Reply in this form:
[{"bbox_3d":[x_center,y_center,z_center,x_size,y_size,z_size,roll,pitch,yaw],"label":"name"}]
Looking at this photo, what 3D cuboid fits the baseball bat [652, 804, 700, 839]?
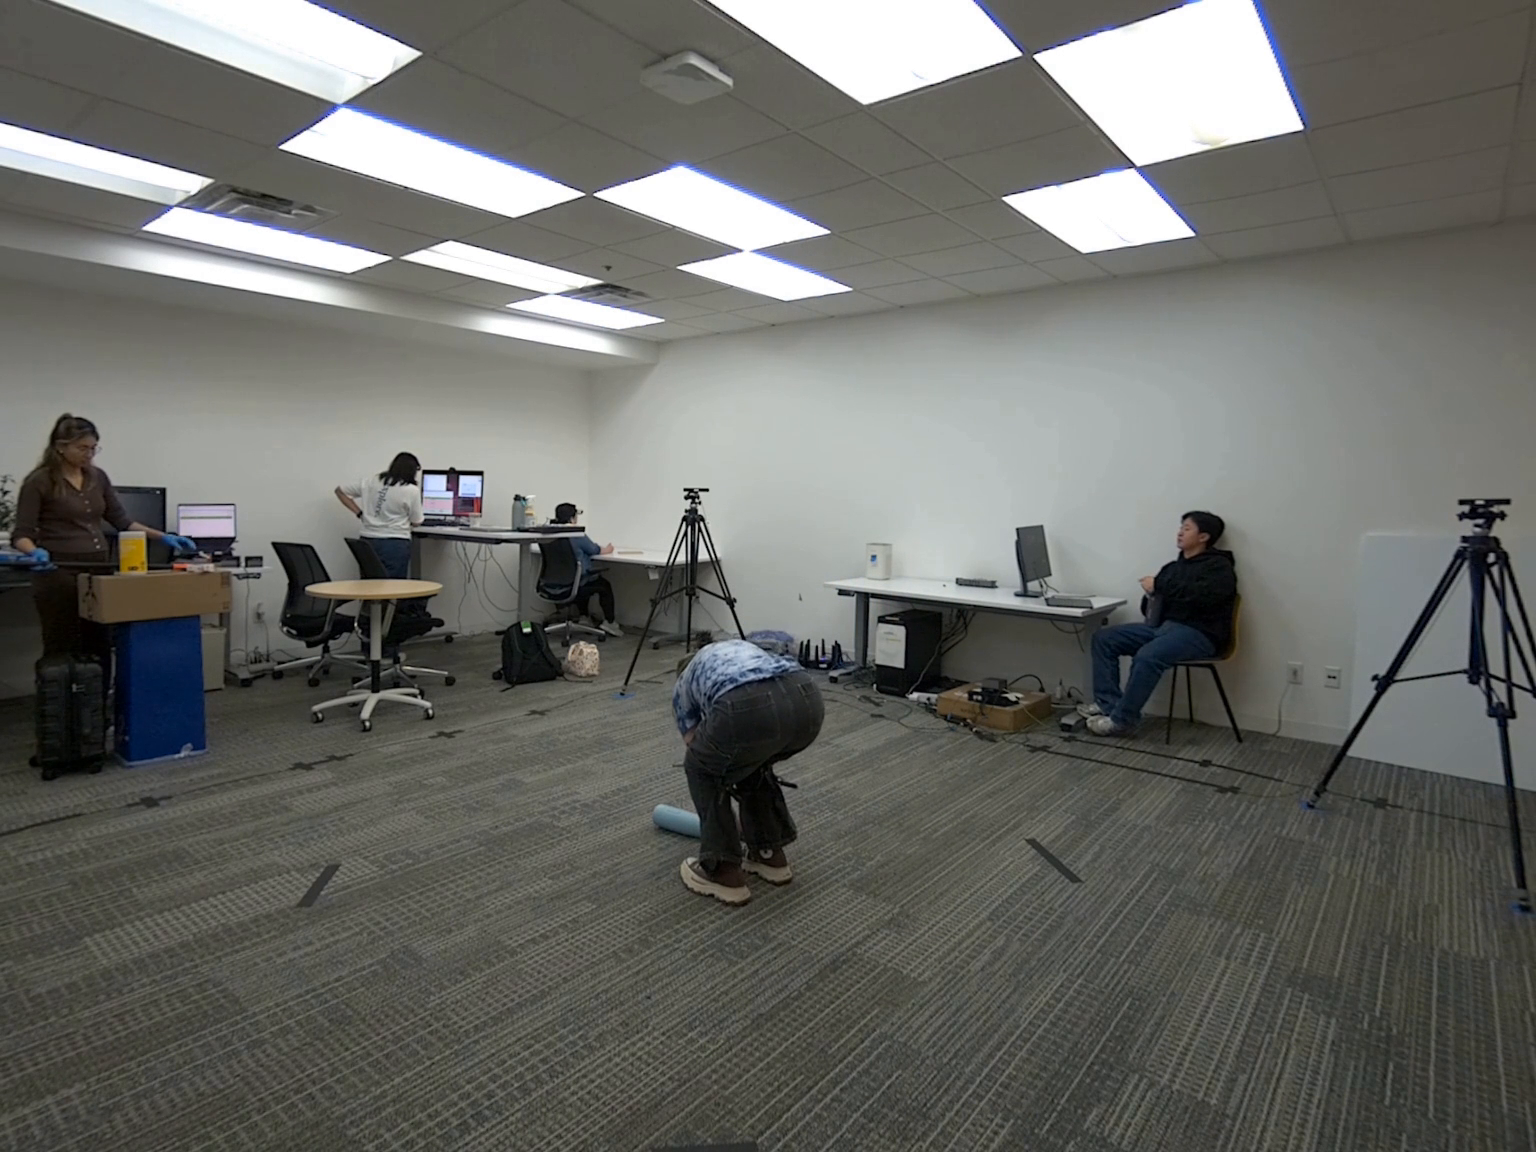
[{"bbox_3d":[-0.227,1.006,3.367,0.559,0.088,0.087,7,6,28],"label":"baseball bat"}]
